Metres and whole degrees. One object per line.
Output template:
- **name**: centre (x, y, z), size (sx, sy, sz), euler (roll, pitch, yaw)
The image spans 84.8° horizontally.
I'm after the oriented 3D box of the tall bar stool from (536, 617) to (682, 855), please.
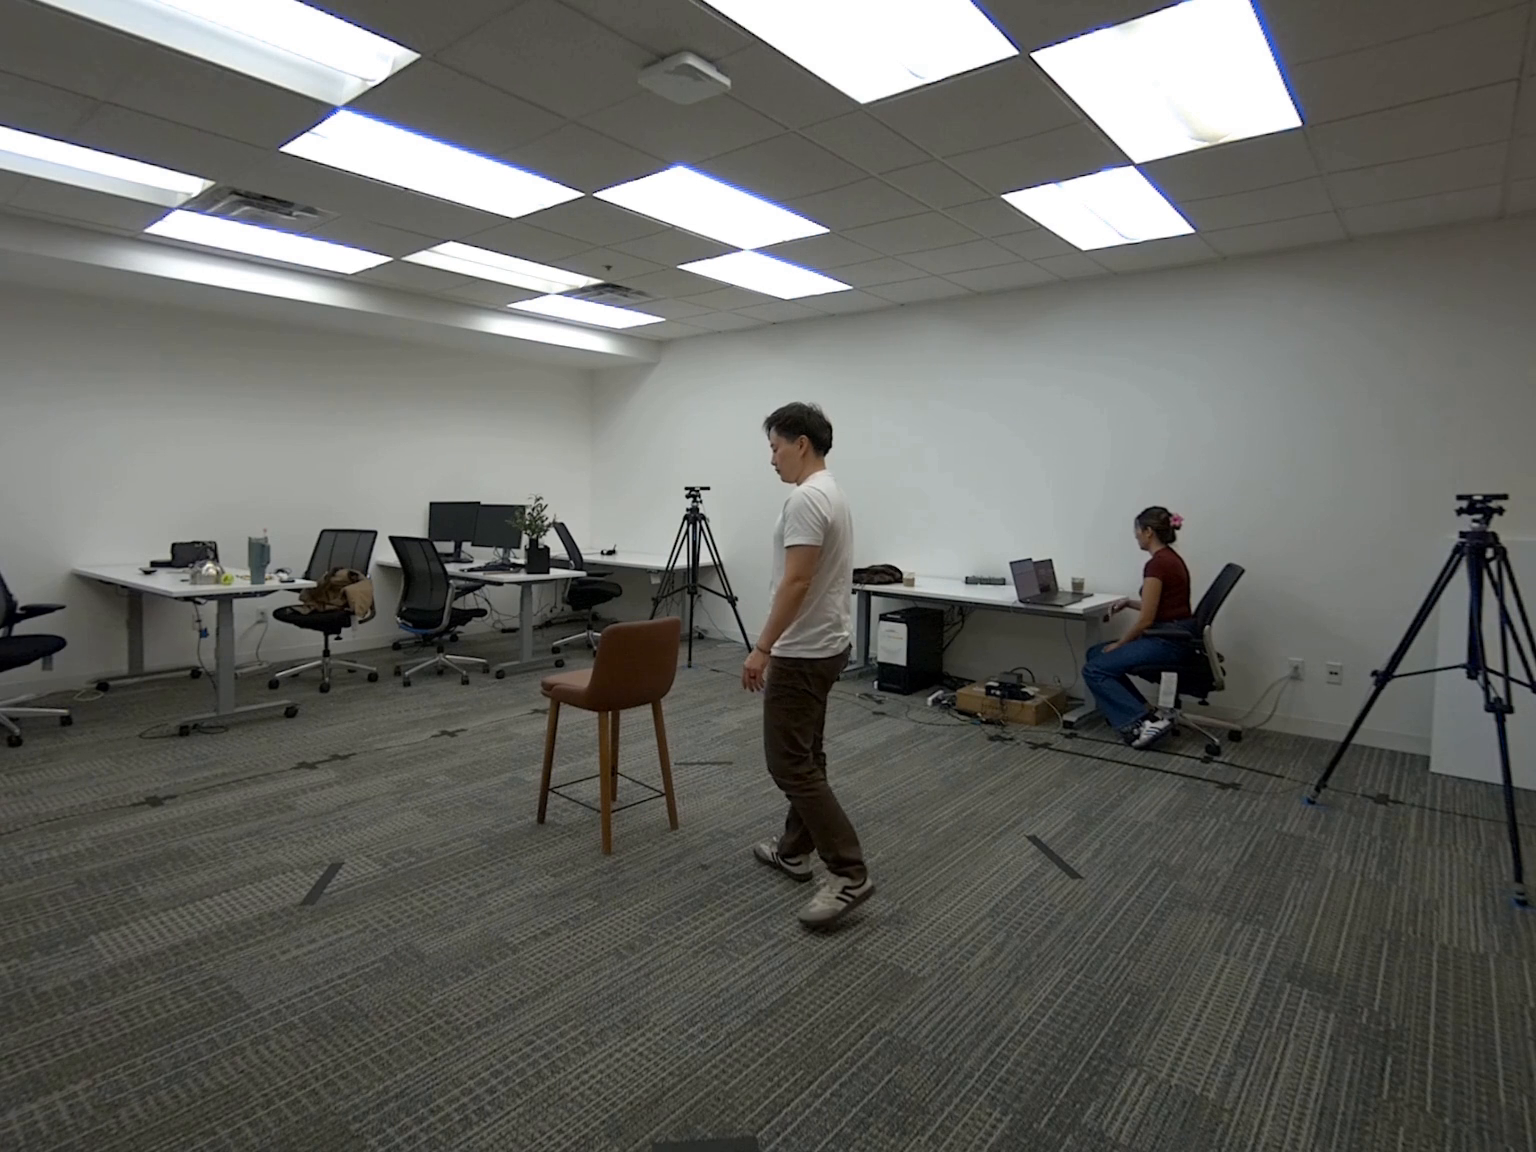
- **tall bar stool**: centre (-0.656, 0.591, 3.472), size (0.484, 0.886, 0.442), euler (6, 6, 43)
